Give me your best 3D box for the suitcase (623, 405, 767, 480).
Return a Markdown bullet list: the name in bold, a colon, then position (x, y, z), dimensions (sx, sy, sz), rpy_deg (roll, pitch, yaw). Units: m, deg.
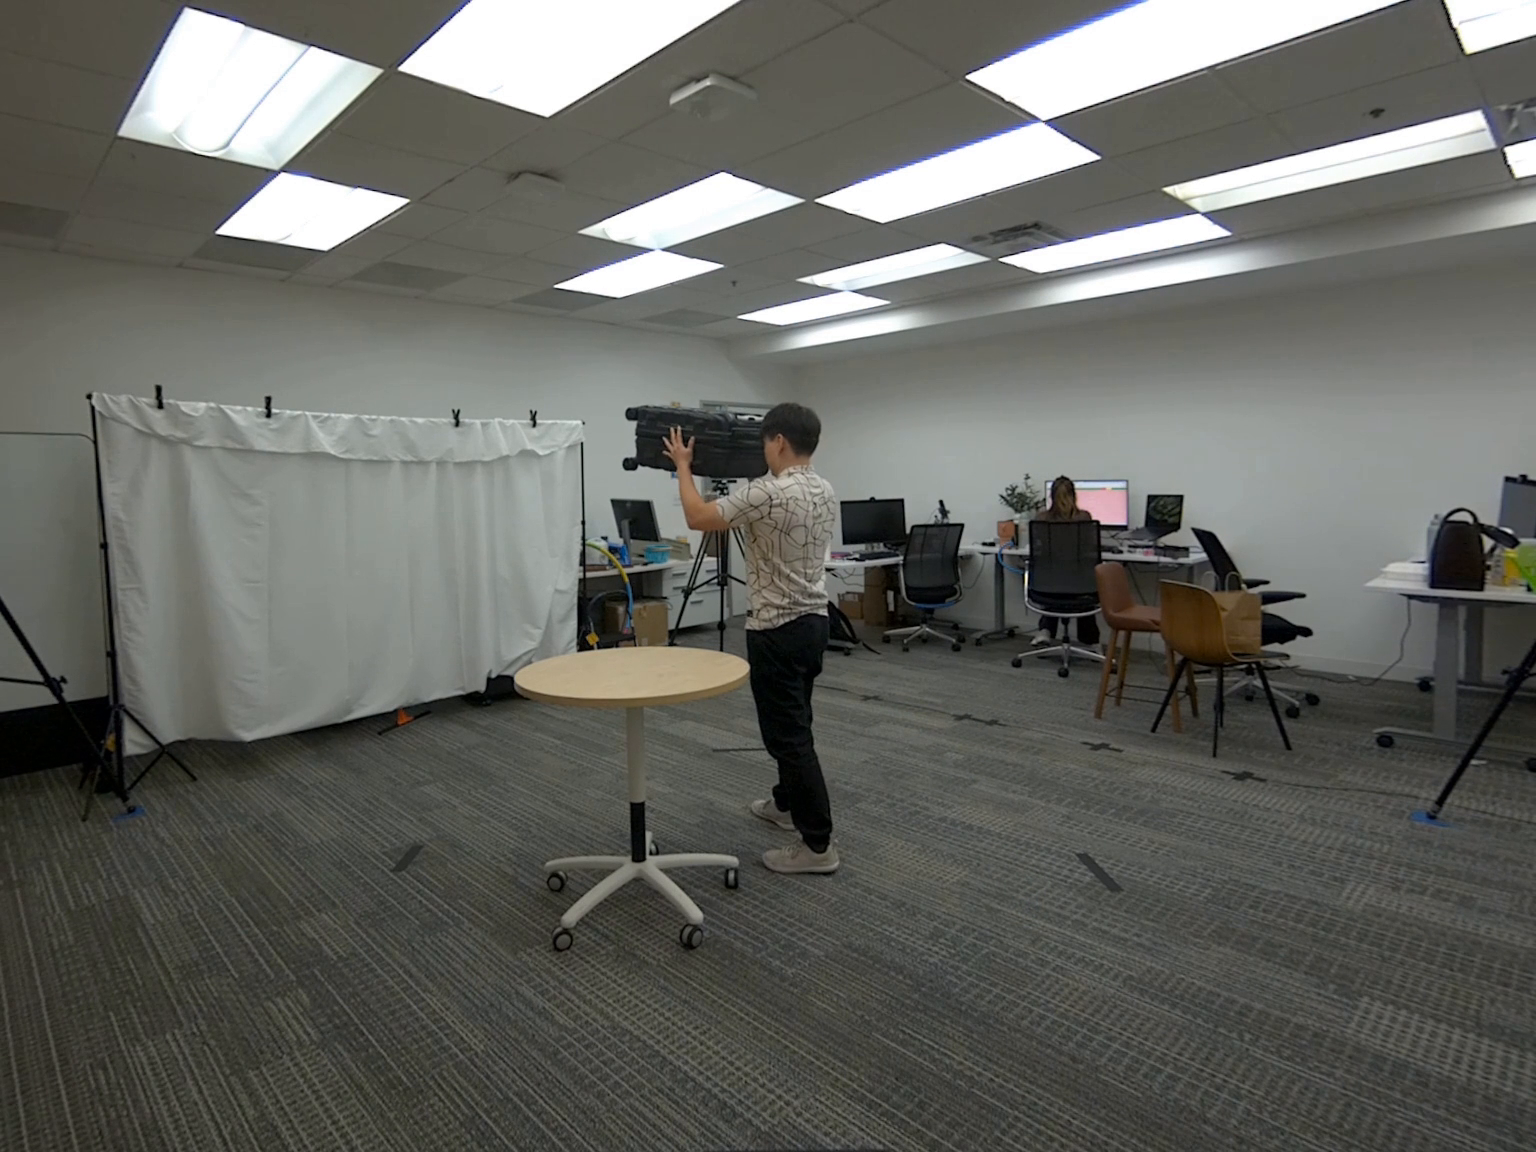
- **suitcase**: position (-0.269, -0.545, 3.441), dimensions (0.567, 0.246, 0.366), rpy_deg (11, 13, 38)
